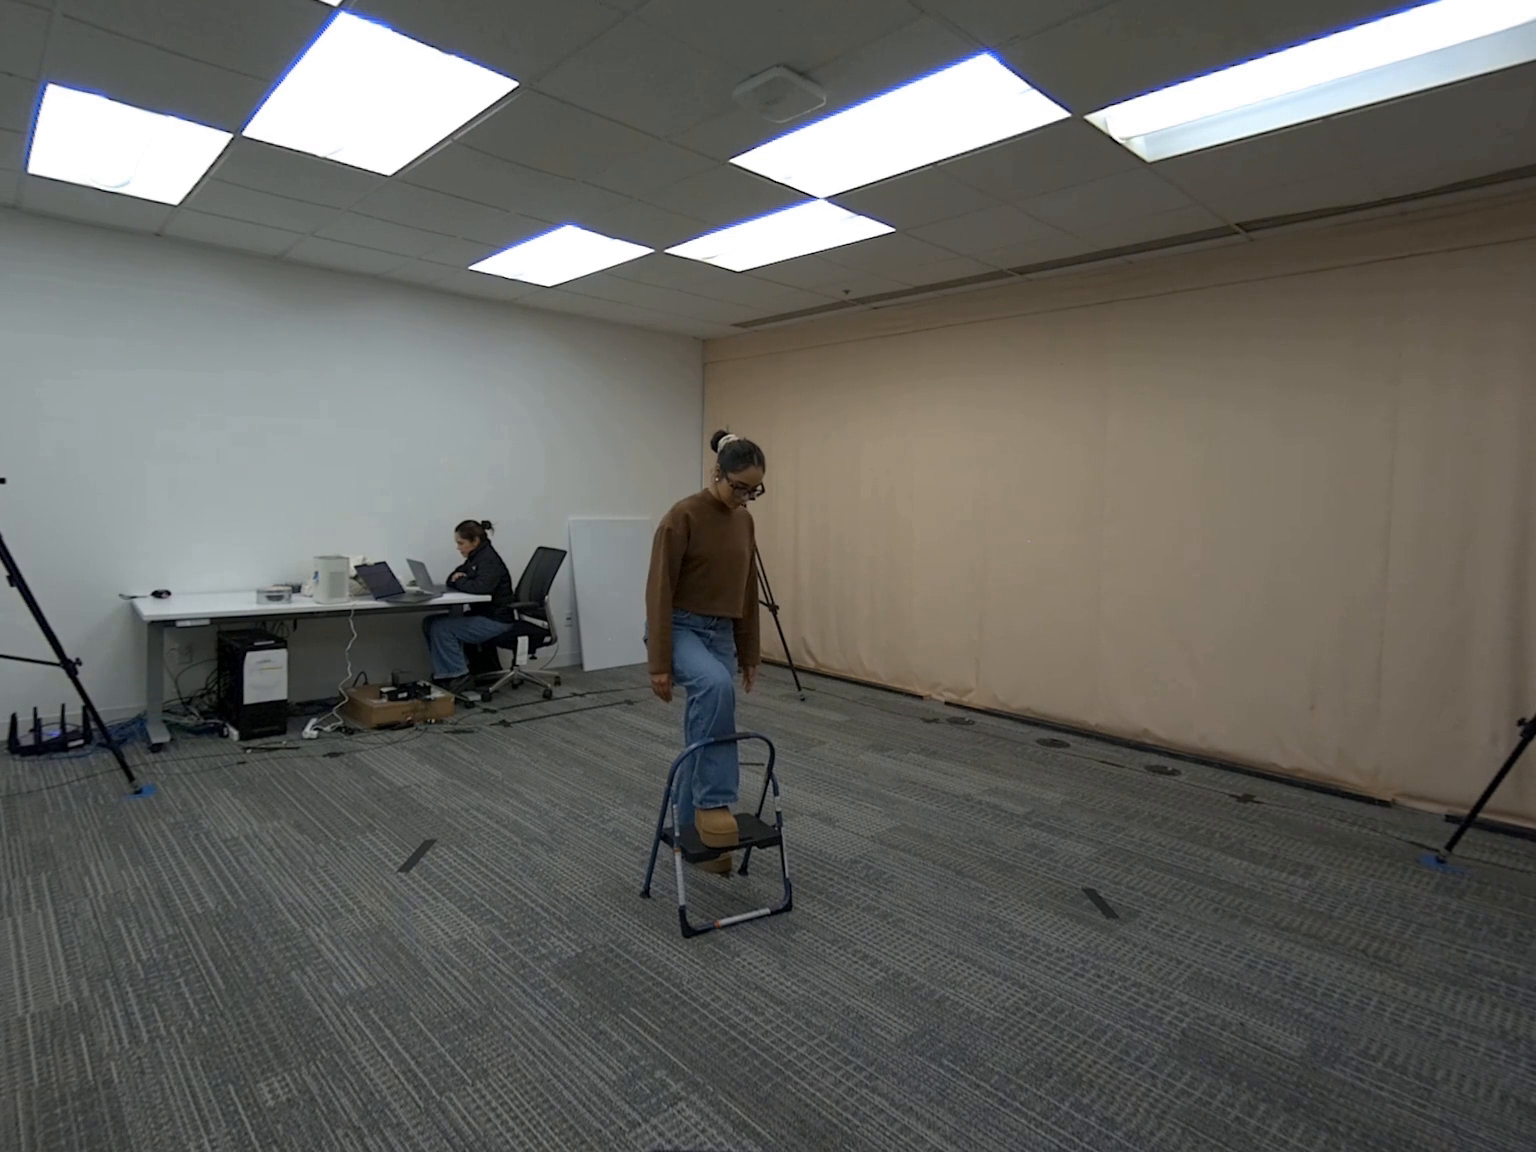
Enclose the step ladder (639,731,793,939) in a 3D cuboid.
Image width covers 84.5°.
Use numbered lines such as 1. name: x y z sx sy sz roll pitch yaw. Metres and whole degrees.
1. step ladder: -0.177 0.824 2.880 0.421 0.604 0.357 -1 4 -32
